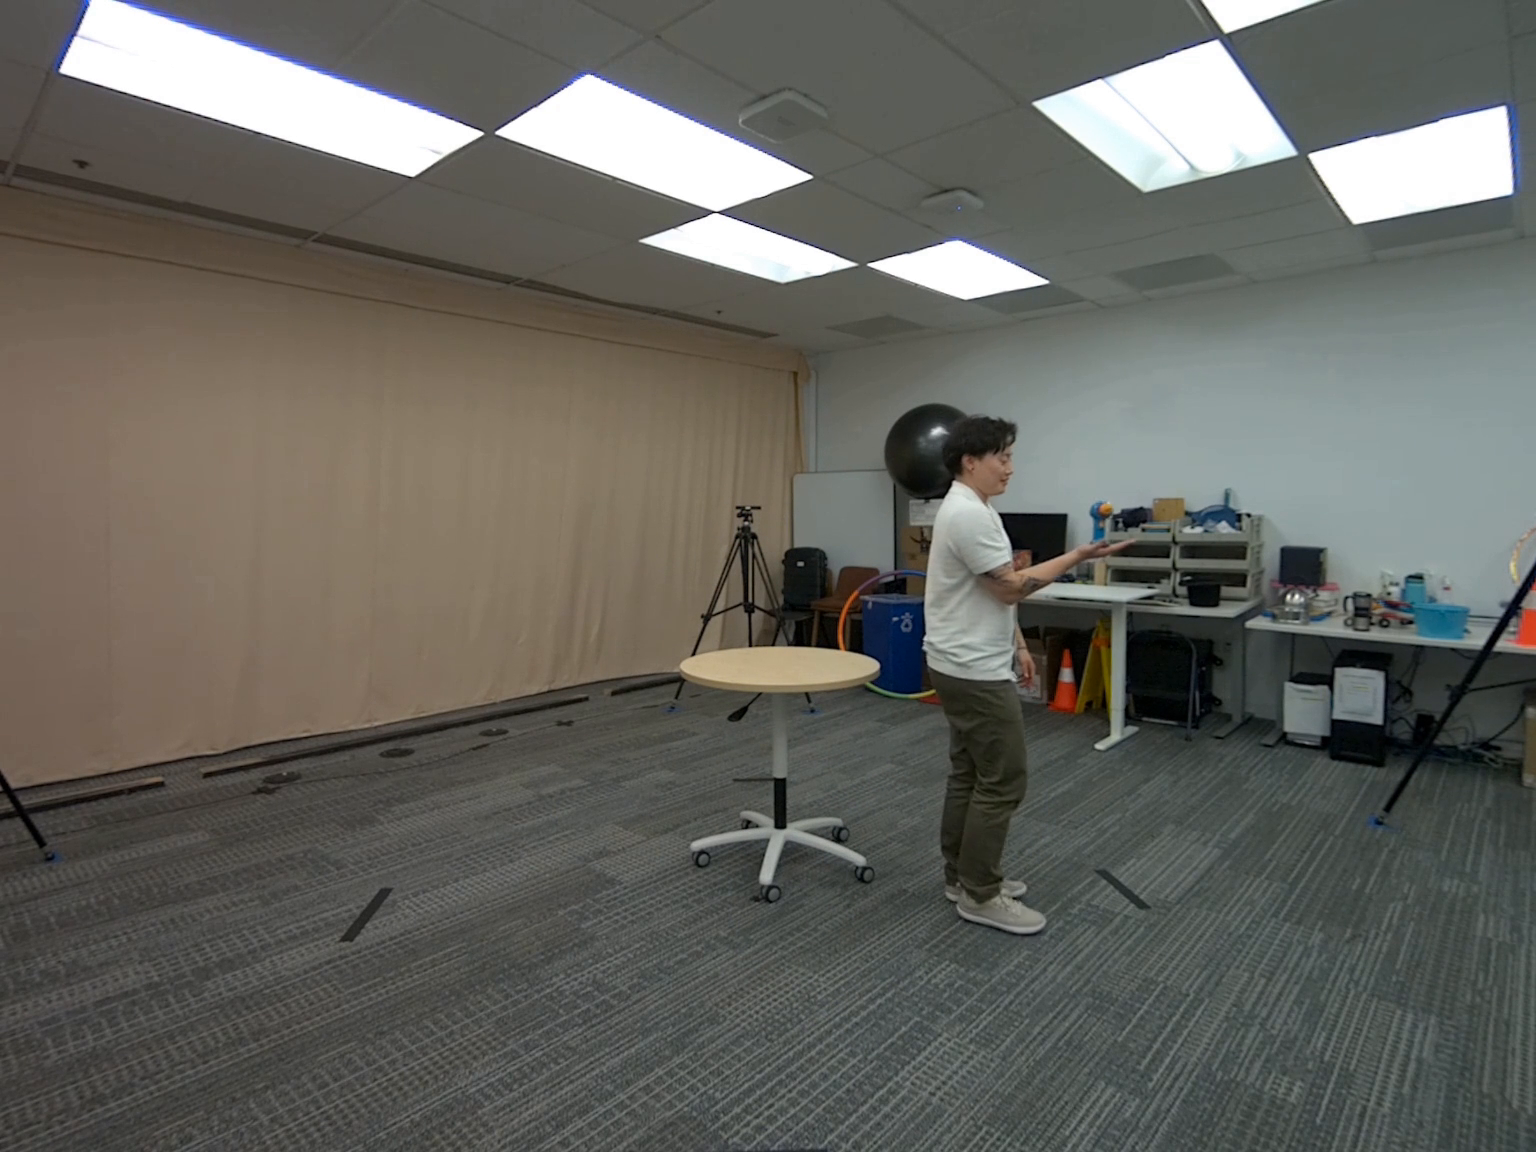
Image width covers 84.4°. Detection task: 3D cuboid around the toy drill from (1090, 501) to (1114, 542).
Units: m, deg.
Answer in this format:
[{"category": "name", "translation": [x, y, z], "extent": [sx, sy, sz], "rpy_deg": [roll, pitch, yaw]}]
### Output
[{"category": "toy drill", "translation": [1.034, -0.161, 2.614], "extent": [0.061, 0.146, 0.169], "rpy_deg": [-1, -2, 2]}]
